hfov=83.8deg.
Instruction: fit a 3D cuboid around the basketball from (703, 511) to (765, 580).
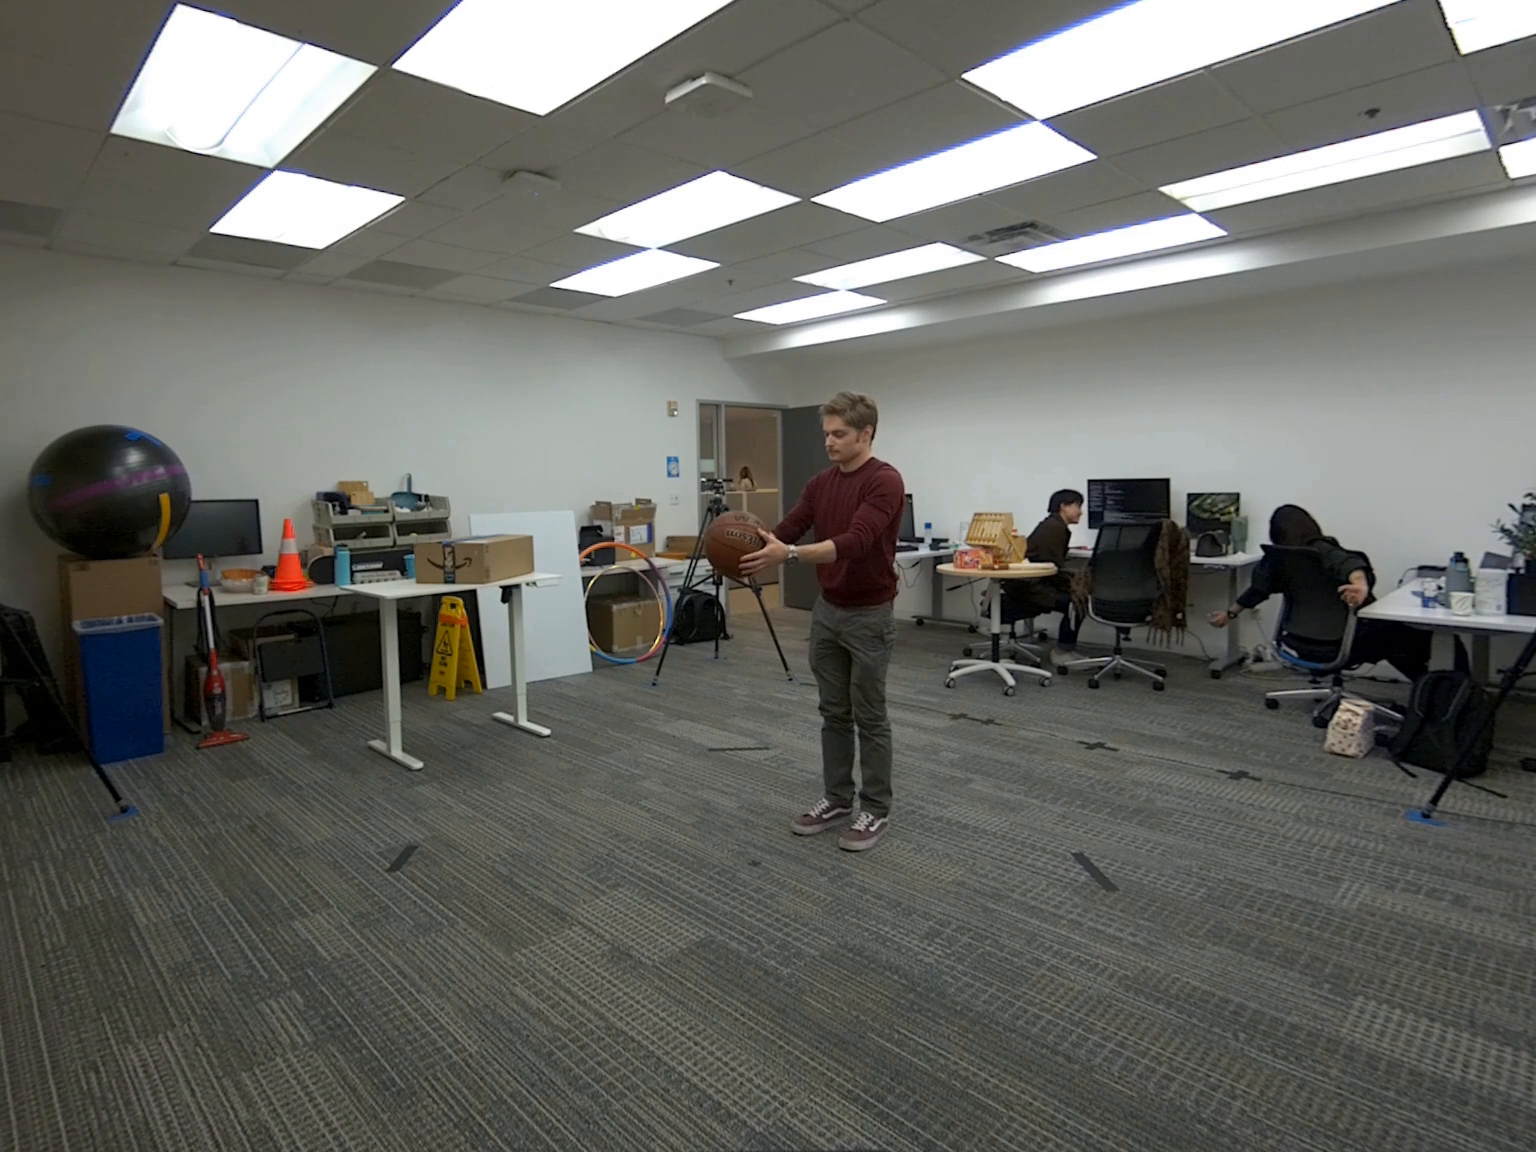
[{"bbox_3d":[-0.109,-0.119,3.012,0.236,0.235,0.237,-1,5,-2],"label":"basketball"}]
